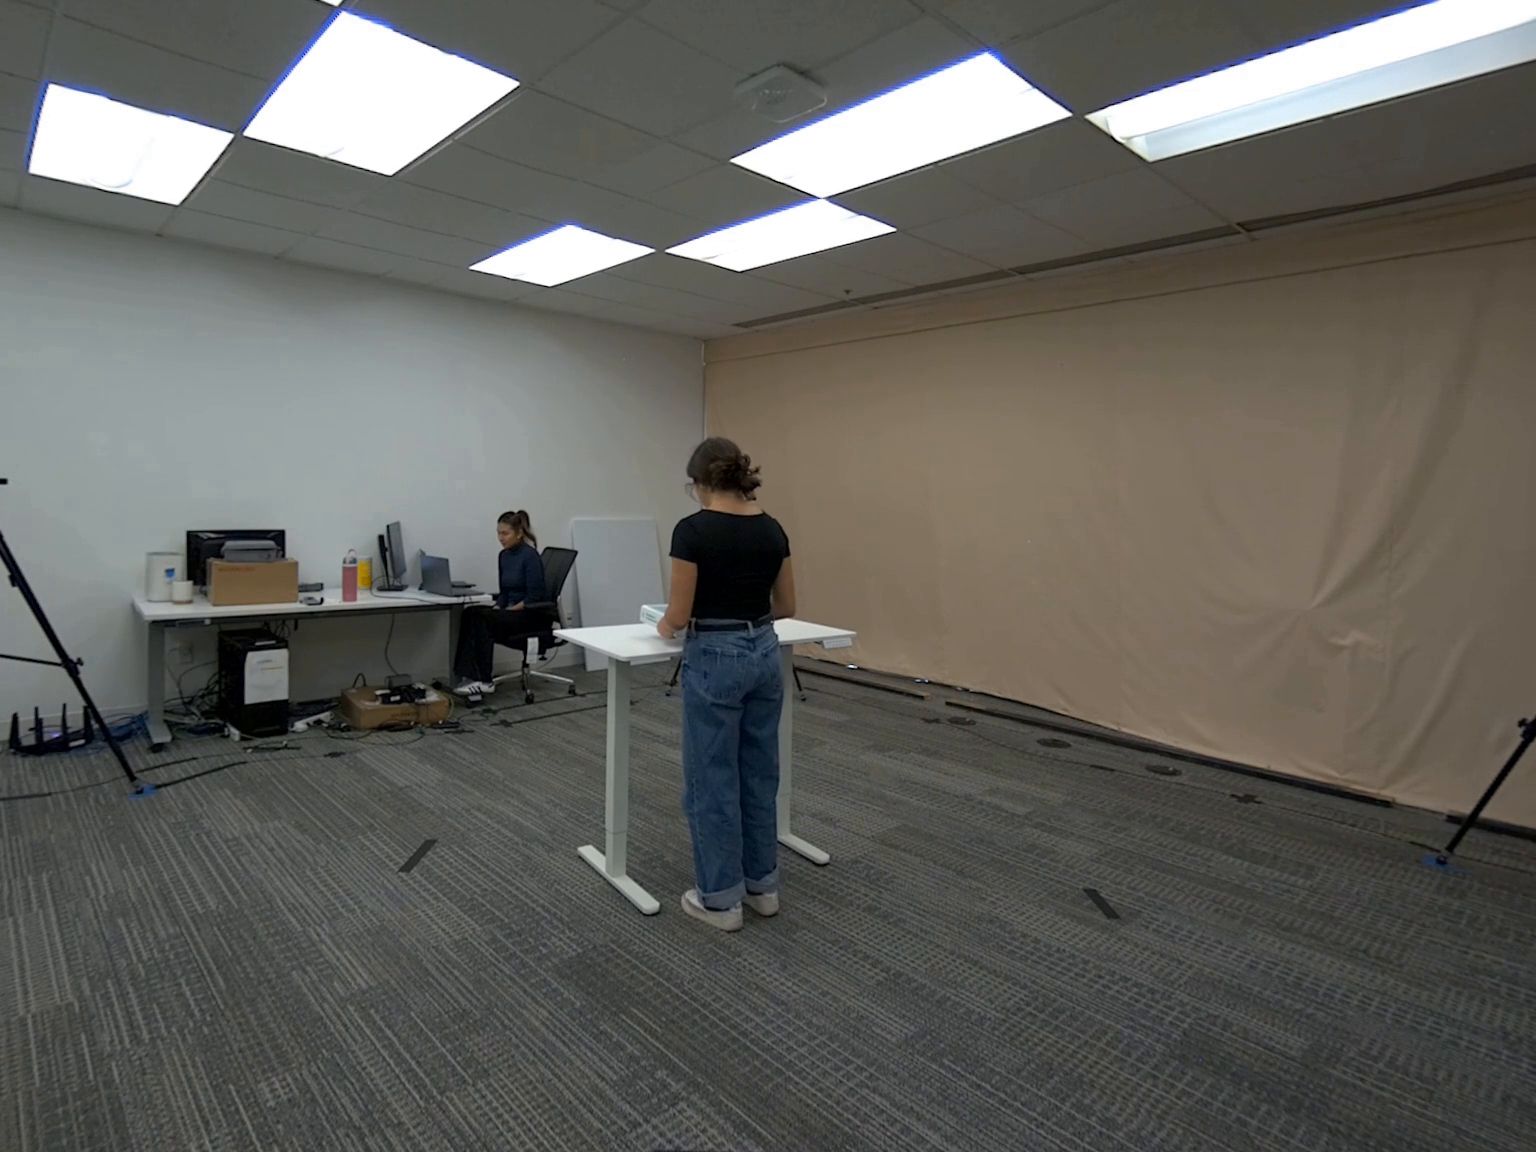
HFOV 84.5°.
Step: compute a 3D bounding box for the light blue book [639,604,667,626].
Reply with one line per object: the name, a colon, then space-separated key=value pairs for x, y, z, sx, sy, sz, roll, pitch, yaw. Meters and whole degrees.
light blue book: x=-0.312 y=0.165 z=3.006 sx=0.187 sy=0.059 sz=0.268 roll=-1 pitch=11 yaw=-37
